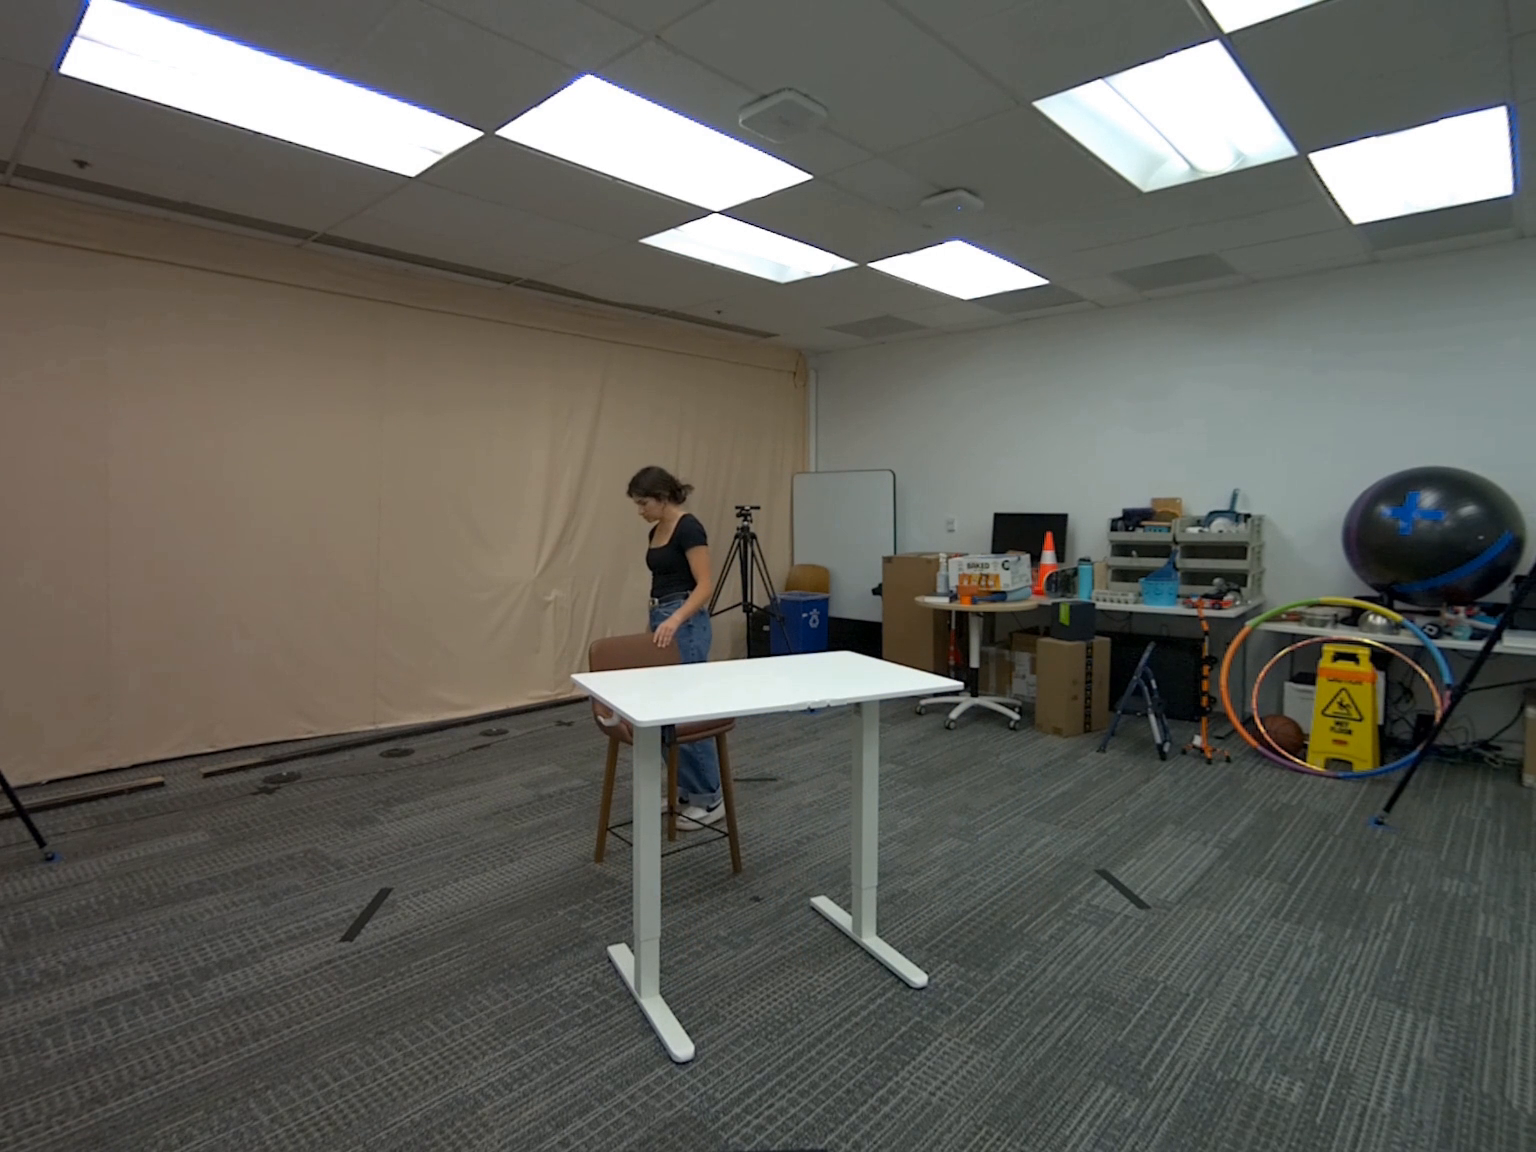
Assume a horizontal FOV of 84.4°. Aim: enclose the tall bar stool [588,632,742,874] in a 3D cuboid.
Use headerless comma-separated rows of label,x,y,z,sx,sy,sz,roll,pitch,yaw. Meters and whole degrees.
tall bar stool,-0.408,0.688,3.230,0.443,0.889,0.482,-3,2,-39
